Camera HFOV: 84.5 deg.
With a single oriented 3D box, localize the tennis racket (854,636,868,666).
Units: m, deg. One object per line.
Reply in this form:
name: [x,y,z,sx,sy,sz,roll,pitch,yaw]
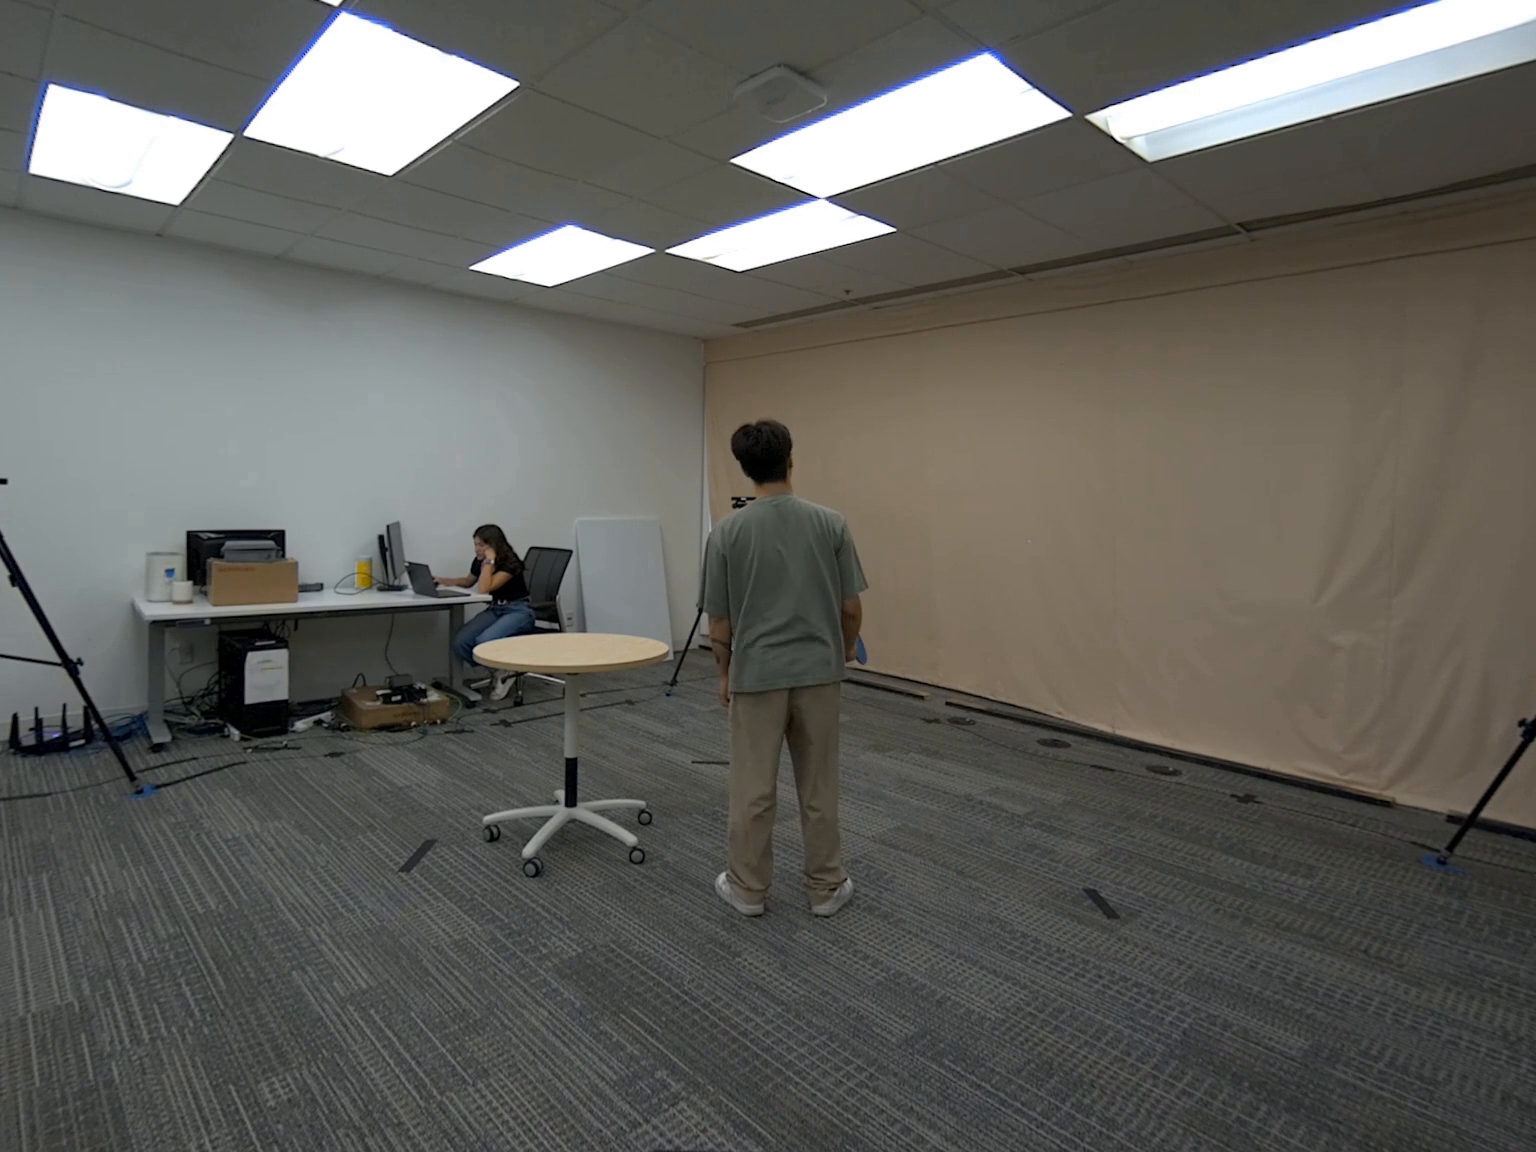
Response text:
tennis racket: [0.317,0.263,3.281,0.032,0.212,0.435,-29,9,10]
